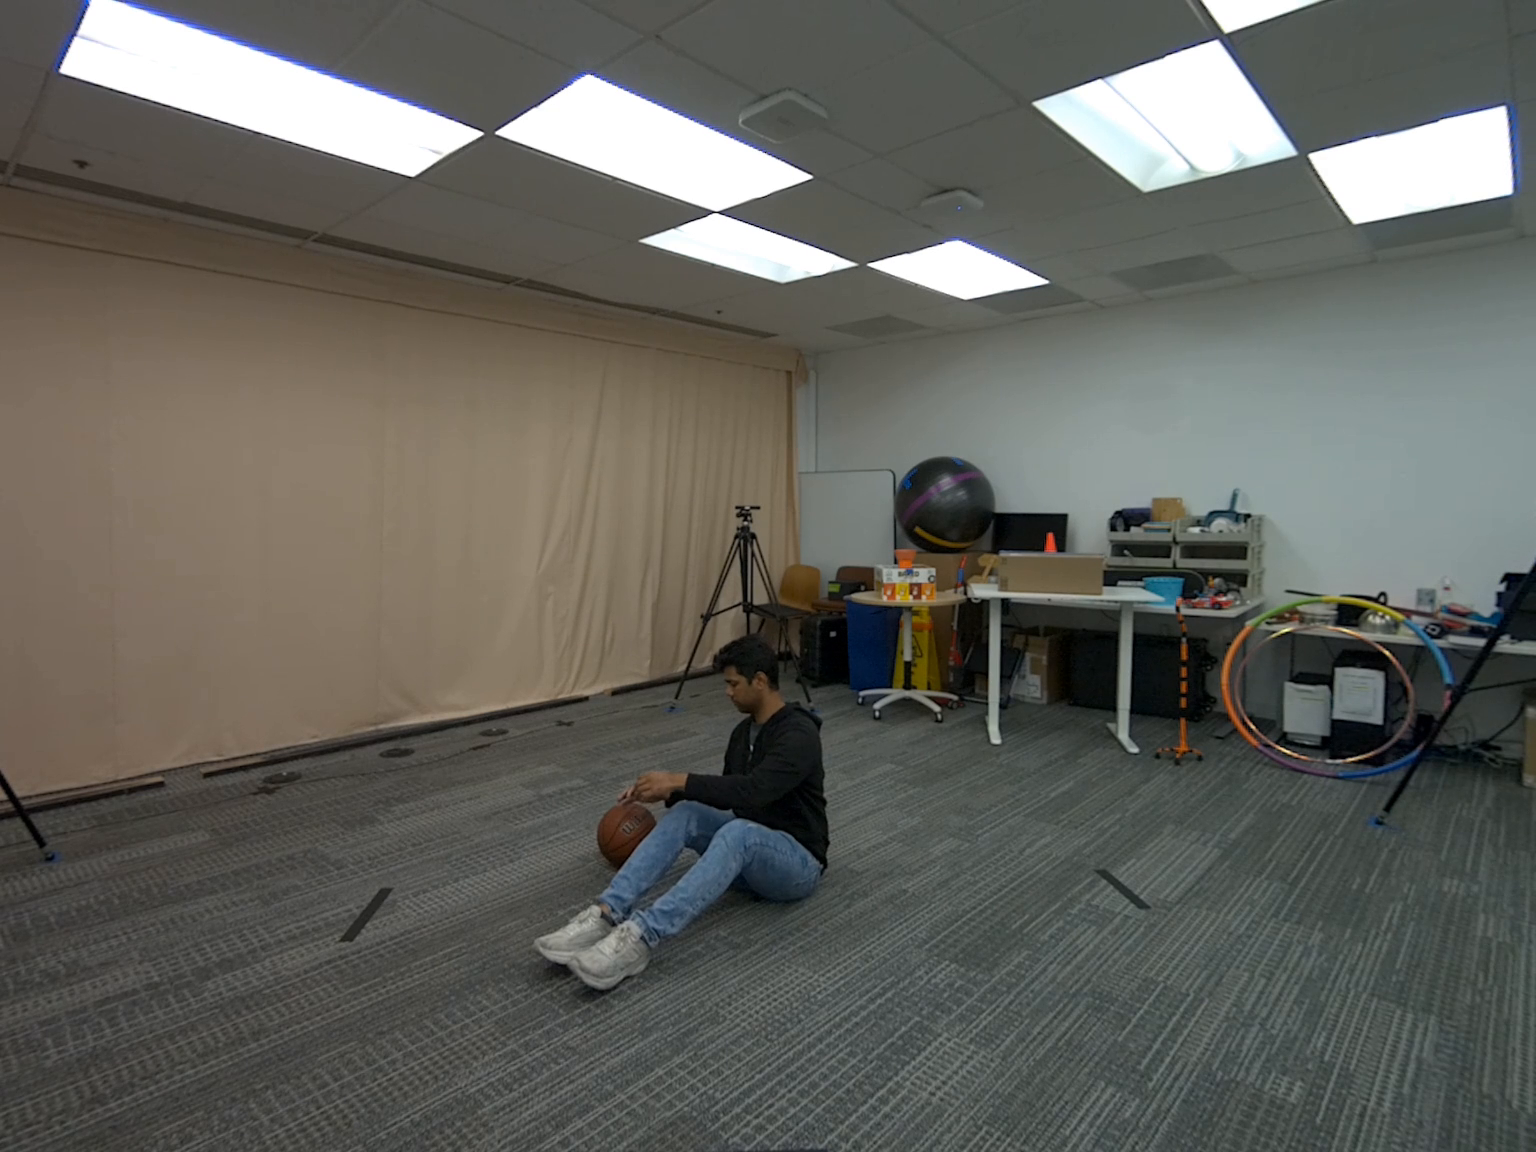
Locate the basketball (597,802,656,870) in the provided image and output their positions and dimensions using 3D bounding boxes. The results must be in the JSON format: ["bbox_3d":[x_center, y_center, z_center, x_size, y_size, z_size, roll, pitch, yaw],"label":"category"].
[{"bbox_3d":[-0.542,1.006,3.273,0.236,0.235,0.237,0,4,-2],"label":"basketball"}]
